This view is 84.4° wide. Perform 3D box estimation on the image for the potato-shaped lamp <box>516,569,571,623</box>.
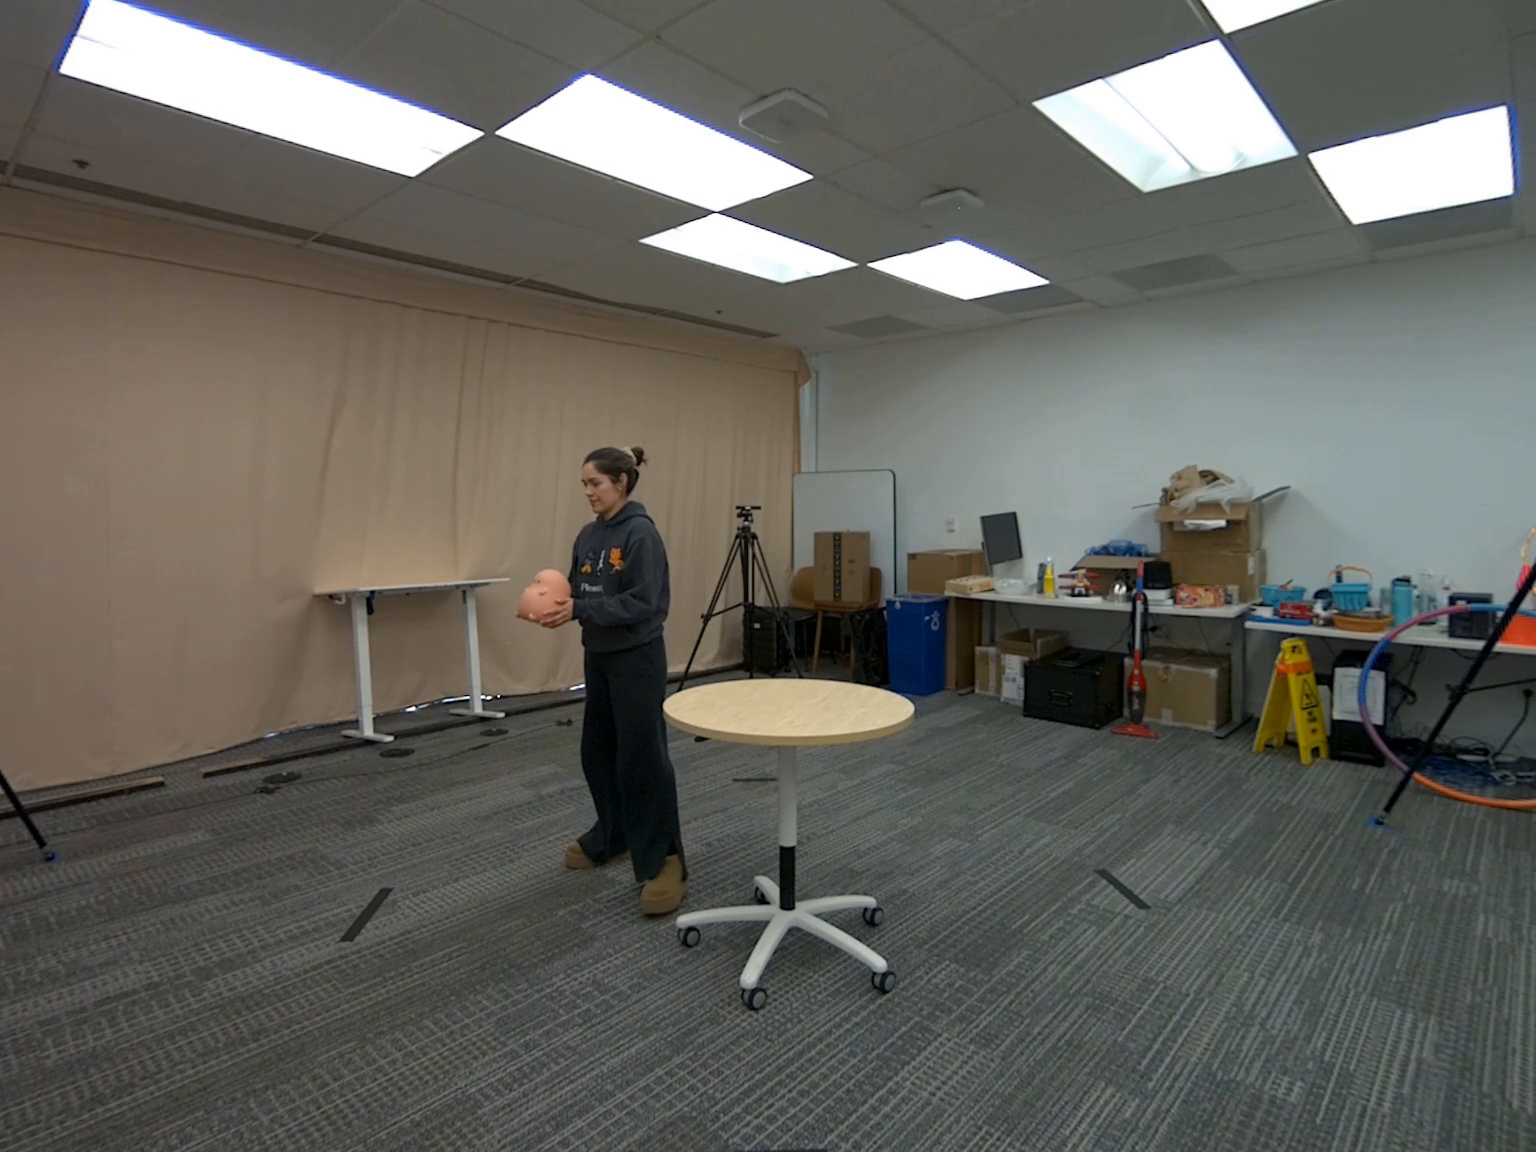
[{"bbox_3d":[-0.761,0.080,2.969,0.165,0.199,0.170,18,-10,-39],"label":"potato-shaped lamp"}]
